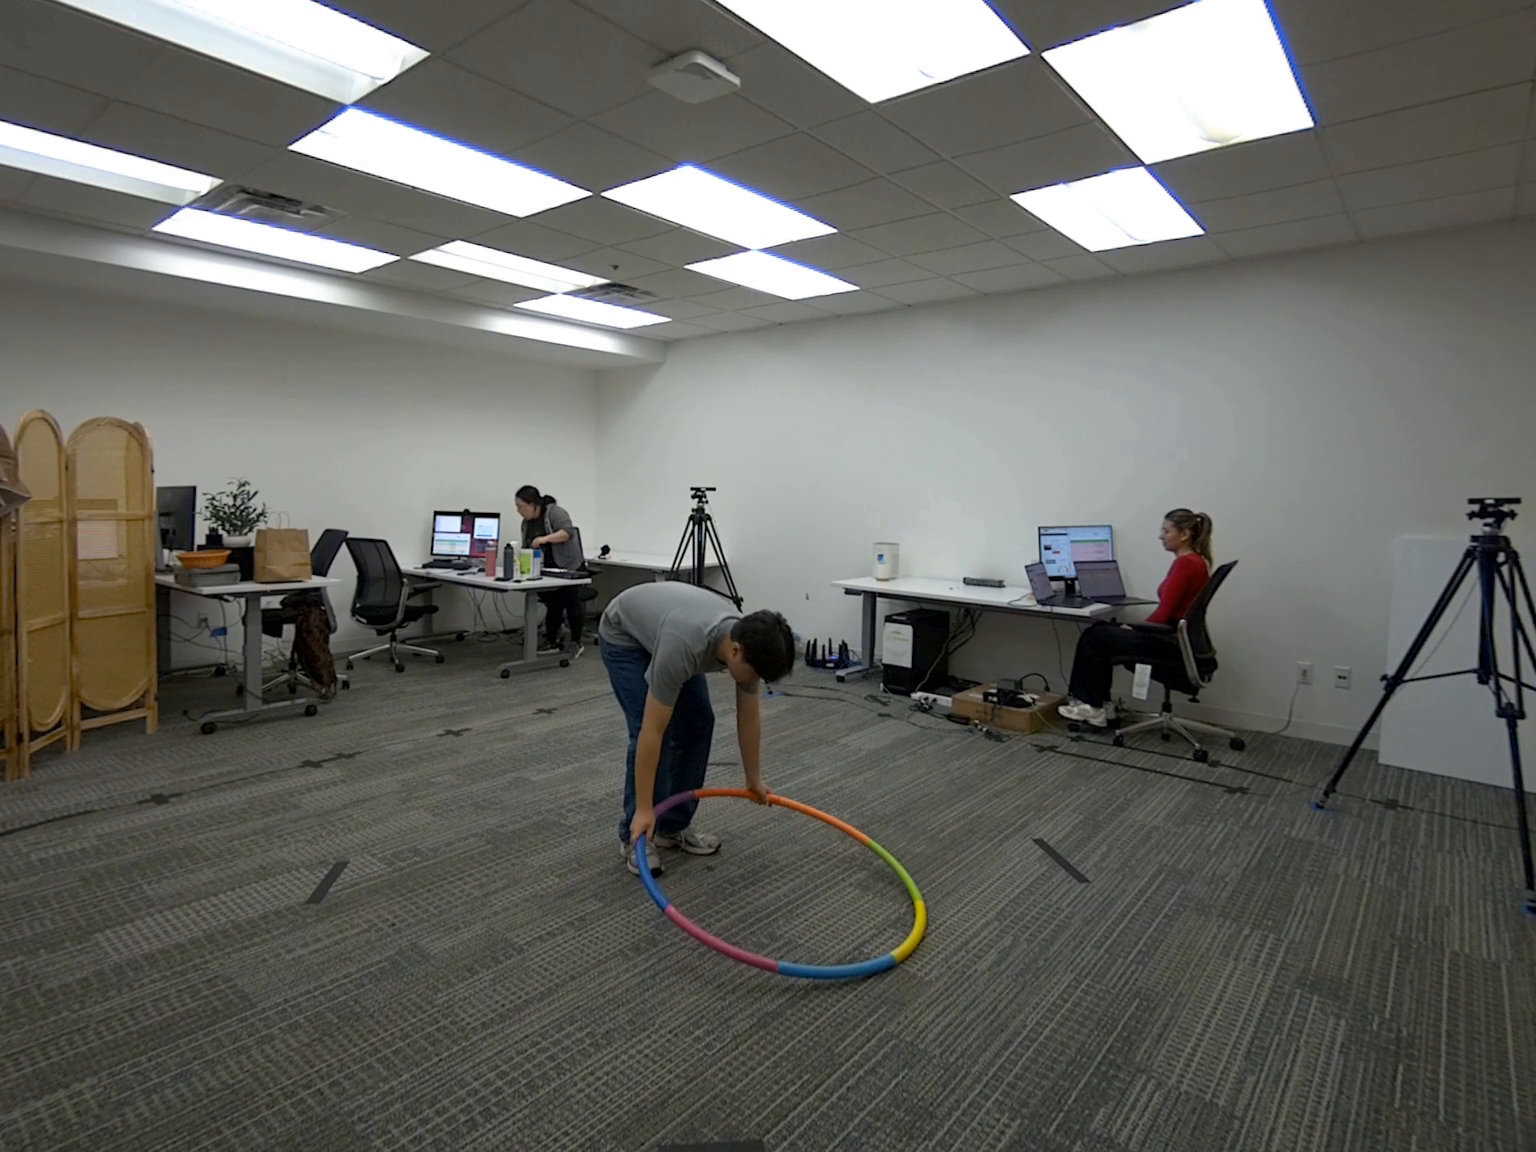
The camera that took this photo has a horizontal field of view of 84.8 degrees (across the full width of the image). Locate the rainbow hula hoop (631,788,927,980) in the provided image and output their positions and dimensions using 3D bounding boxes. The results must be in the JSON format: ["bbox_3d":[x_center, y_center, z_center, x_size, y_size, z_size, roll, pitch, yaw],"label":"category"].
[{"bbox_3d":[0.029,0.965,2.831,0.975,0.035,0.991,11,13,-4],"label":"rainbow hula hoop"}]
